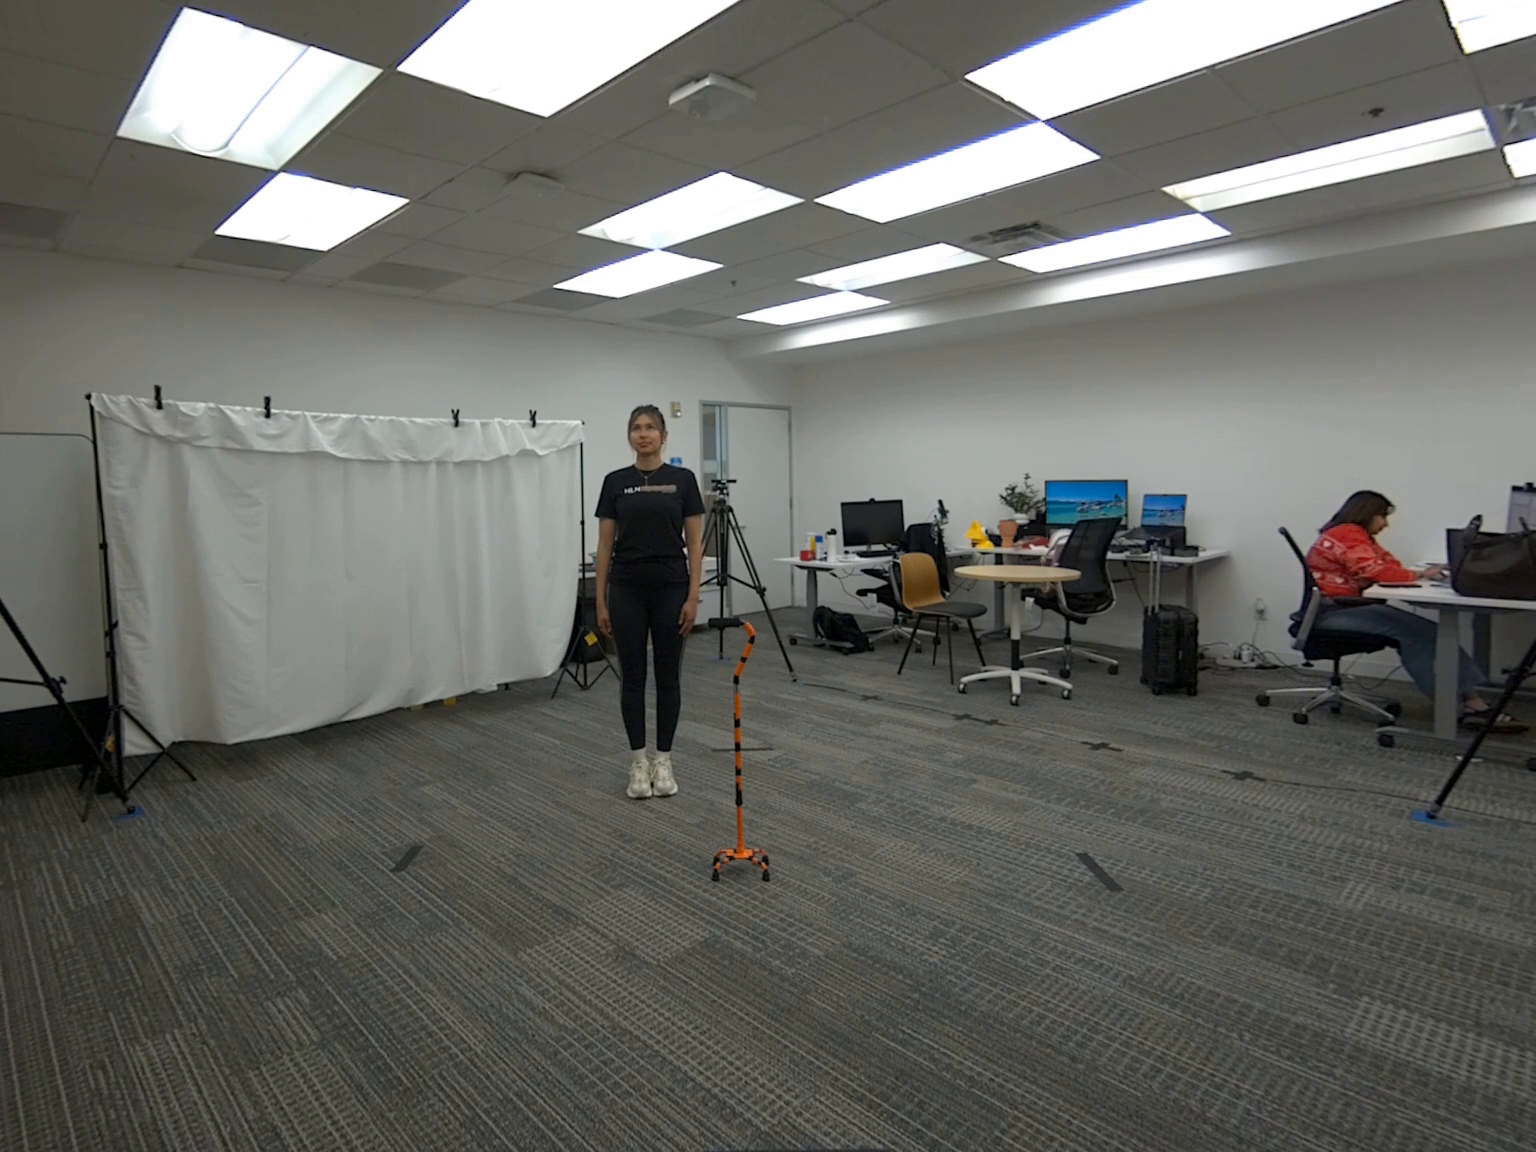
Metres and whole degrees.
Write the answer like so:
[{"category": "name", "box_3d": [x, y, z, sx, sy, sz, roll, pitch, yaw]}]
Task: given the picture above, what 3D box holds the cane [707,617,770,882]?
[{"category": "cane", "box_3d": [-0.100, 0.605, 3.017, 0.206, 0.905, 0.152, -1, 4, -1]}]
